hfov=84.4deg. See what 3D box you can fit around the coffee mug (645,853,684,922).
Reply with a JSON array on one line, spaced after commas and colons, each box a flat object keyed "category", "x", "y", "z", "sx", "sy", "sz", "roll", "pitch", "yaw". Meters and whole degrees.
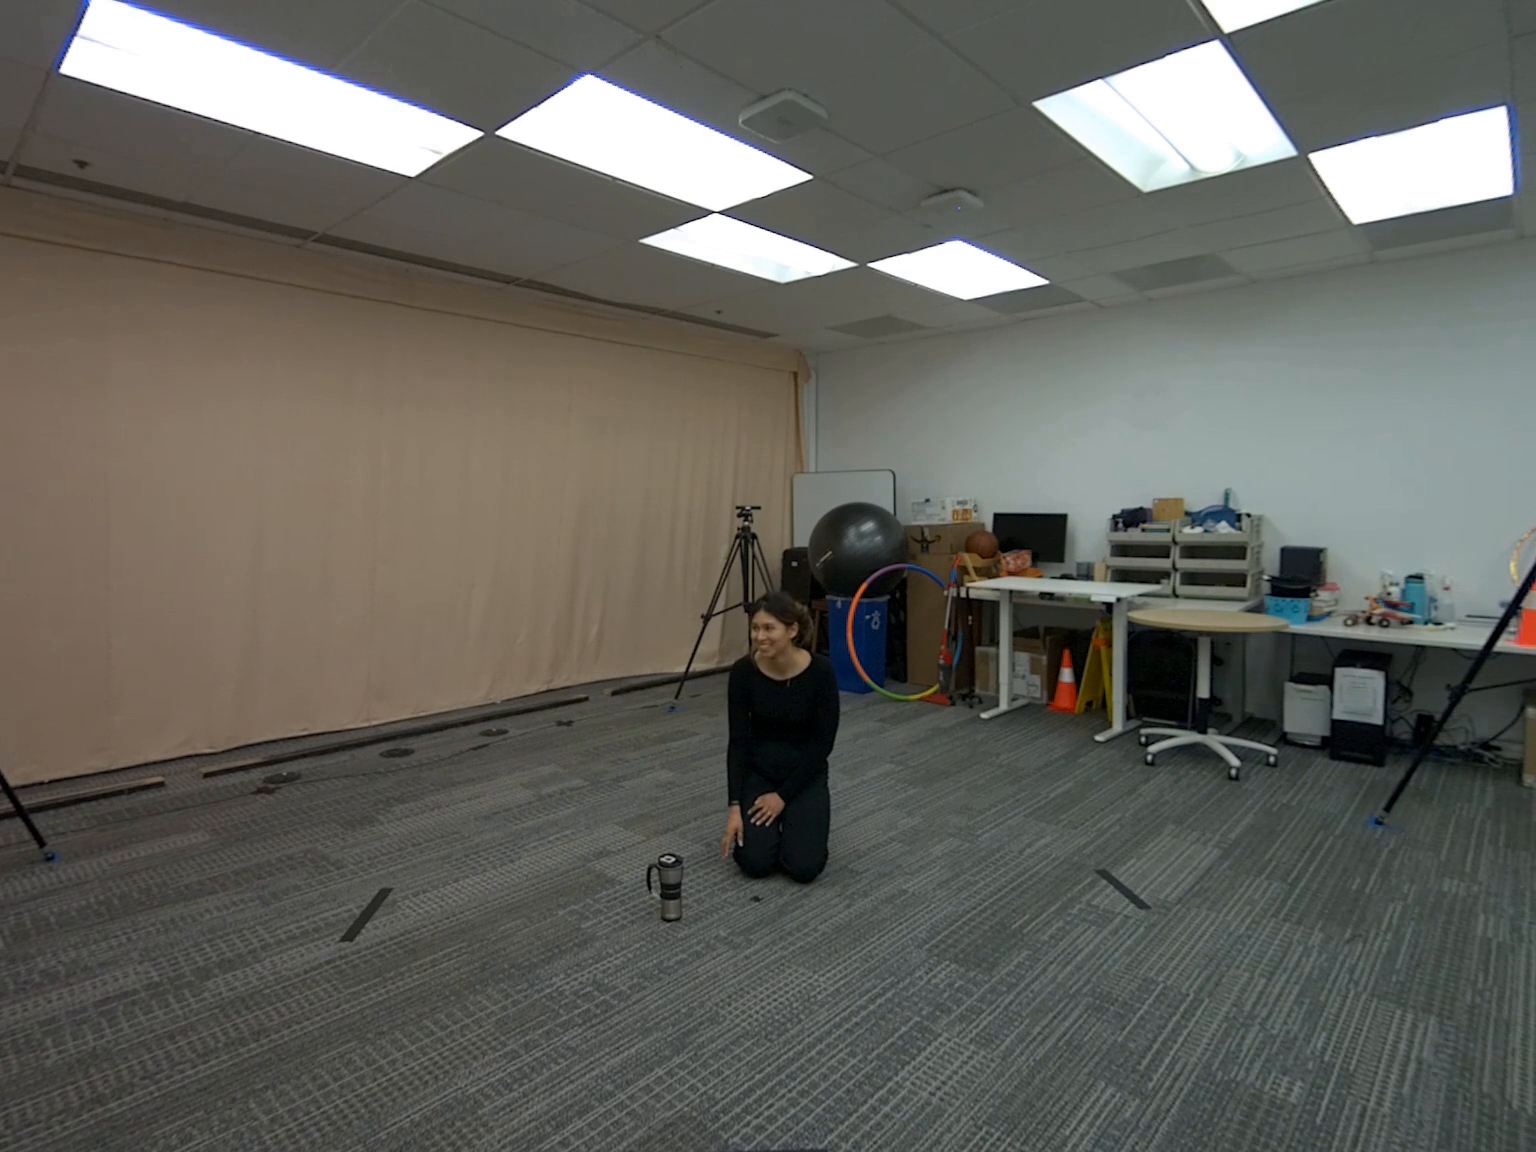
[{"category": "coffee mug", "x": -0.344, "y": 1.058, "z": 2.853, "sx": 0.125, "sy": 0.202, "sz": 0.086, "roll": 5, "pitch": 8, "yaw": 28}]
